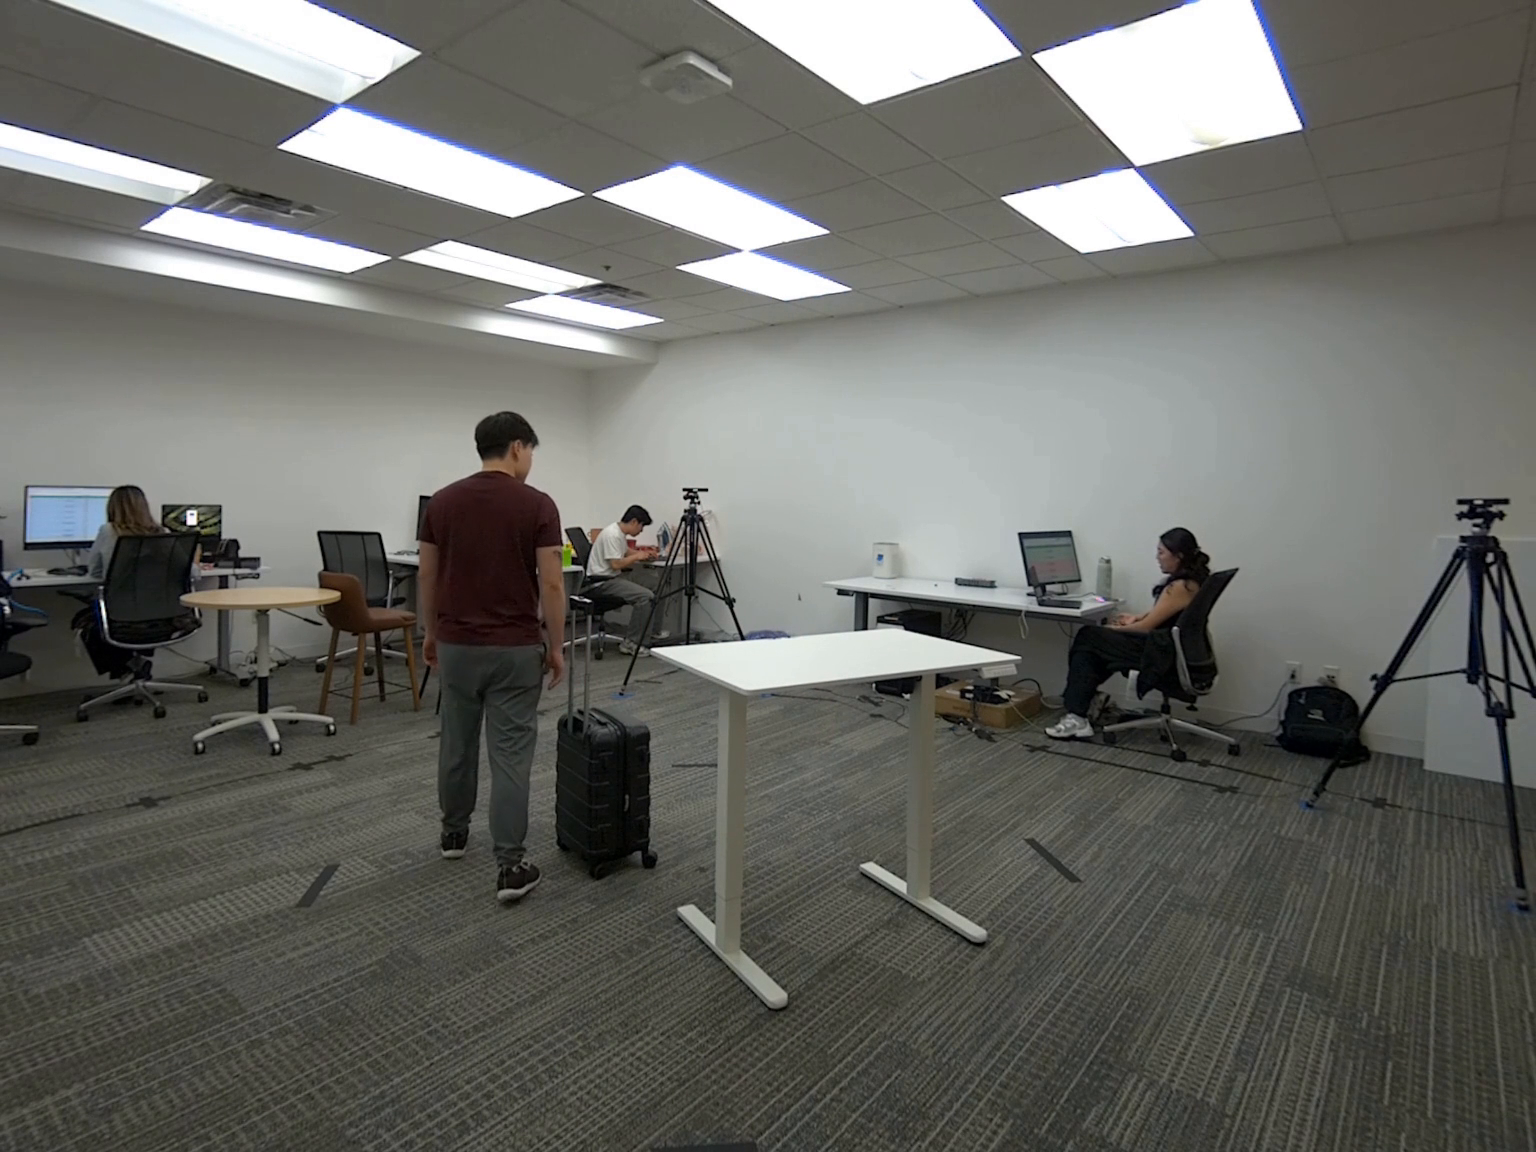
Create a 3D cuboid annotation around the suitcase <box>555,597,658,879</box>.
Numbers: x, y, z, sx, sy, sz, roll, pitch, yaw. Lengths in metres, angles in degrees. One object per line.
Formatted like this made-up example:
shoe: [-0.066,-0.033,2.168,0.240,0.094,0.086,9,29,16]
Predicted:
suitcase: [-0.620,0.580,3.175,0.250,0.977,0.396,1,2,-31]
